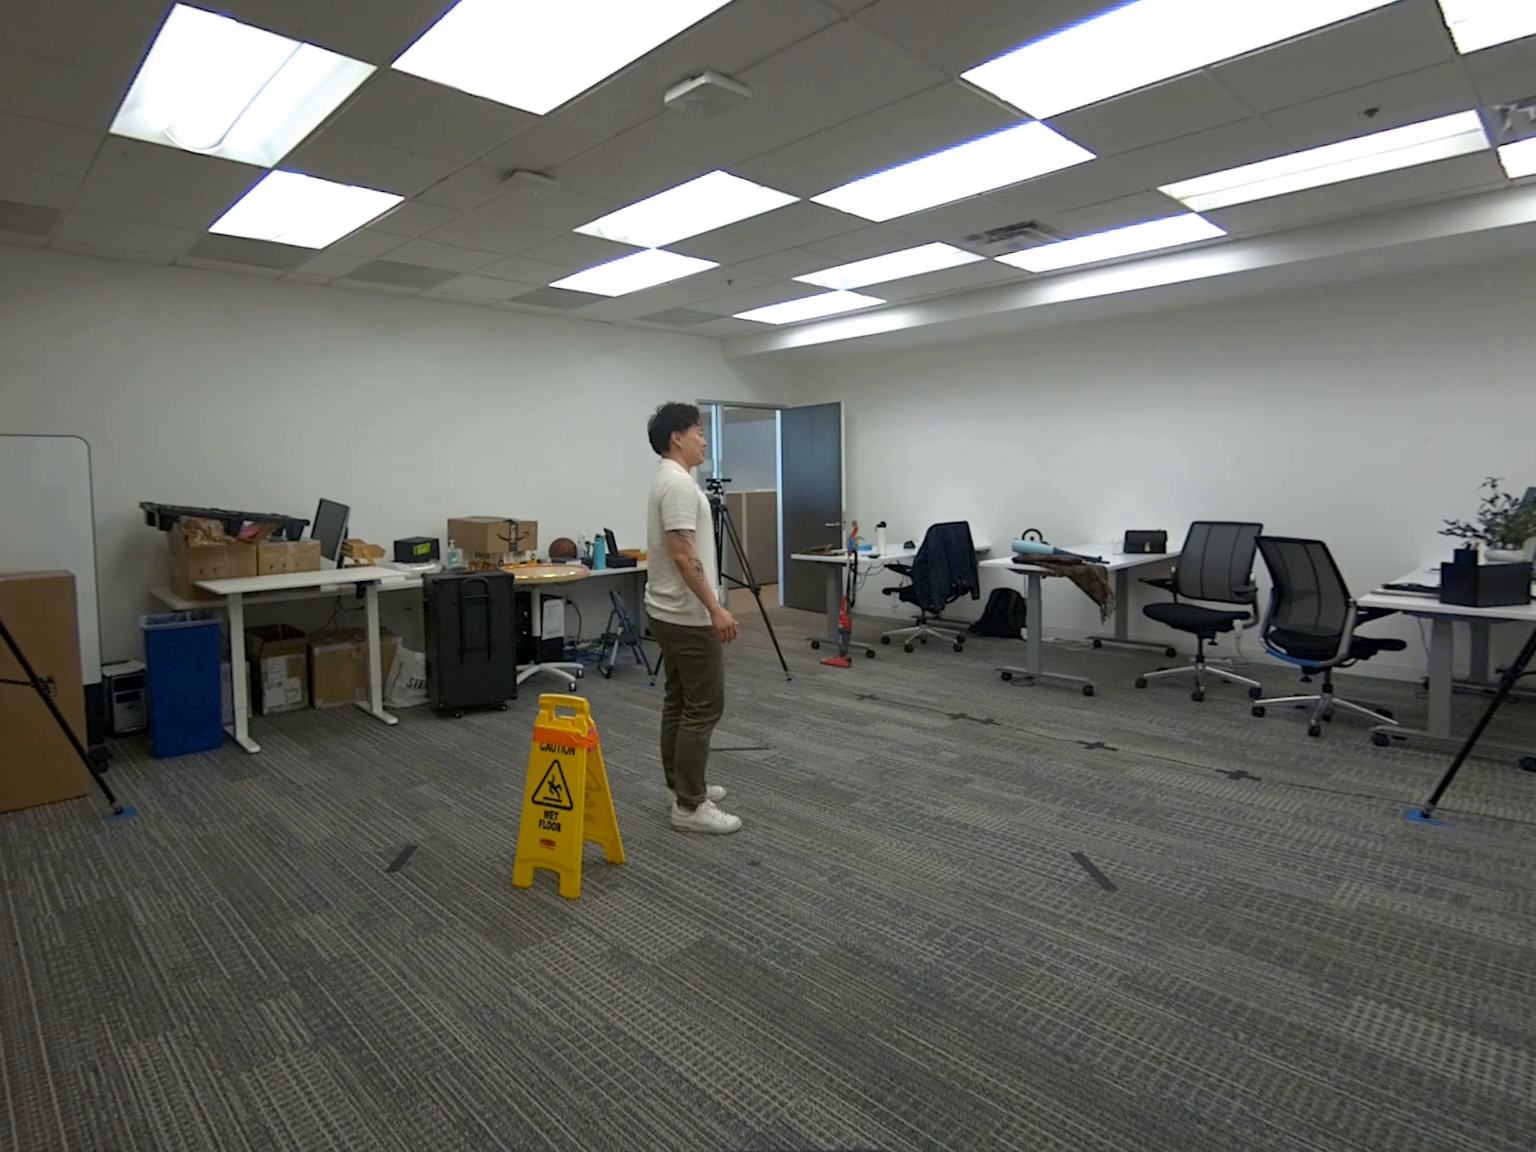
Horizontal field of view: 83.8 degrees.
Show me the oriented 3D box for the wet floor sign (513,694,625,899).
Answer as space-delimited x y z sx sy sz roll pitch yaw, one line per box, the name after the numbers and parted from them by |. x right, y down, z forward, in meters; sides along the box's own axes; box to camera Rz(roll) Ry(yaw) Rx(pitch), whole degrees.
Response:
-0.715 0.744 3.029 0.288 0.644 0.284 0 4 25 | wet floor sign
